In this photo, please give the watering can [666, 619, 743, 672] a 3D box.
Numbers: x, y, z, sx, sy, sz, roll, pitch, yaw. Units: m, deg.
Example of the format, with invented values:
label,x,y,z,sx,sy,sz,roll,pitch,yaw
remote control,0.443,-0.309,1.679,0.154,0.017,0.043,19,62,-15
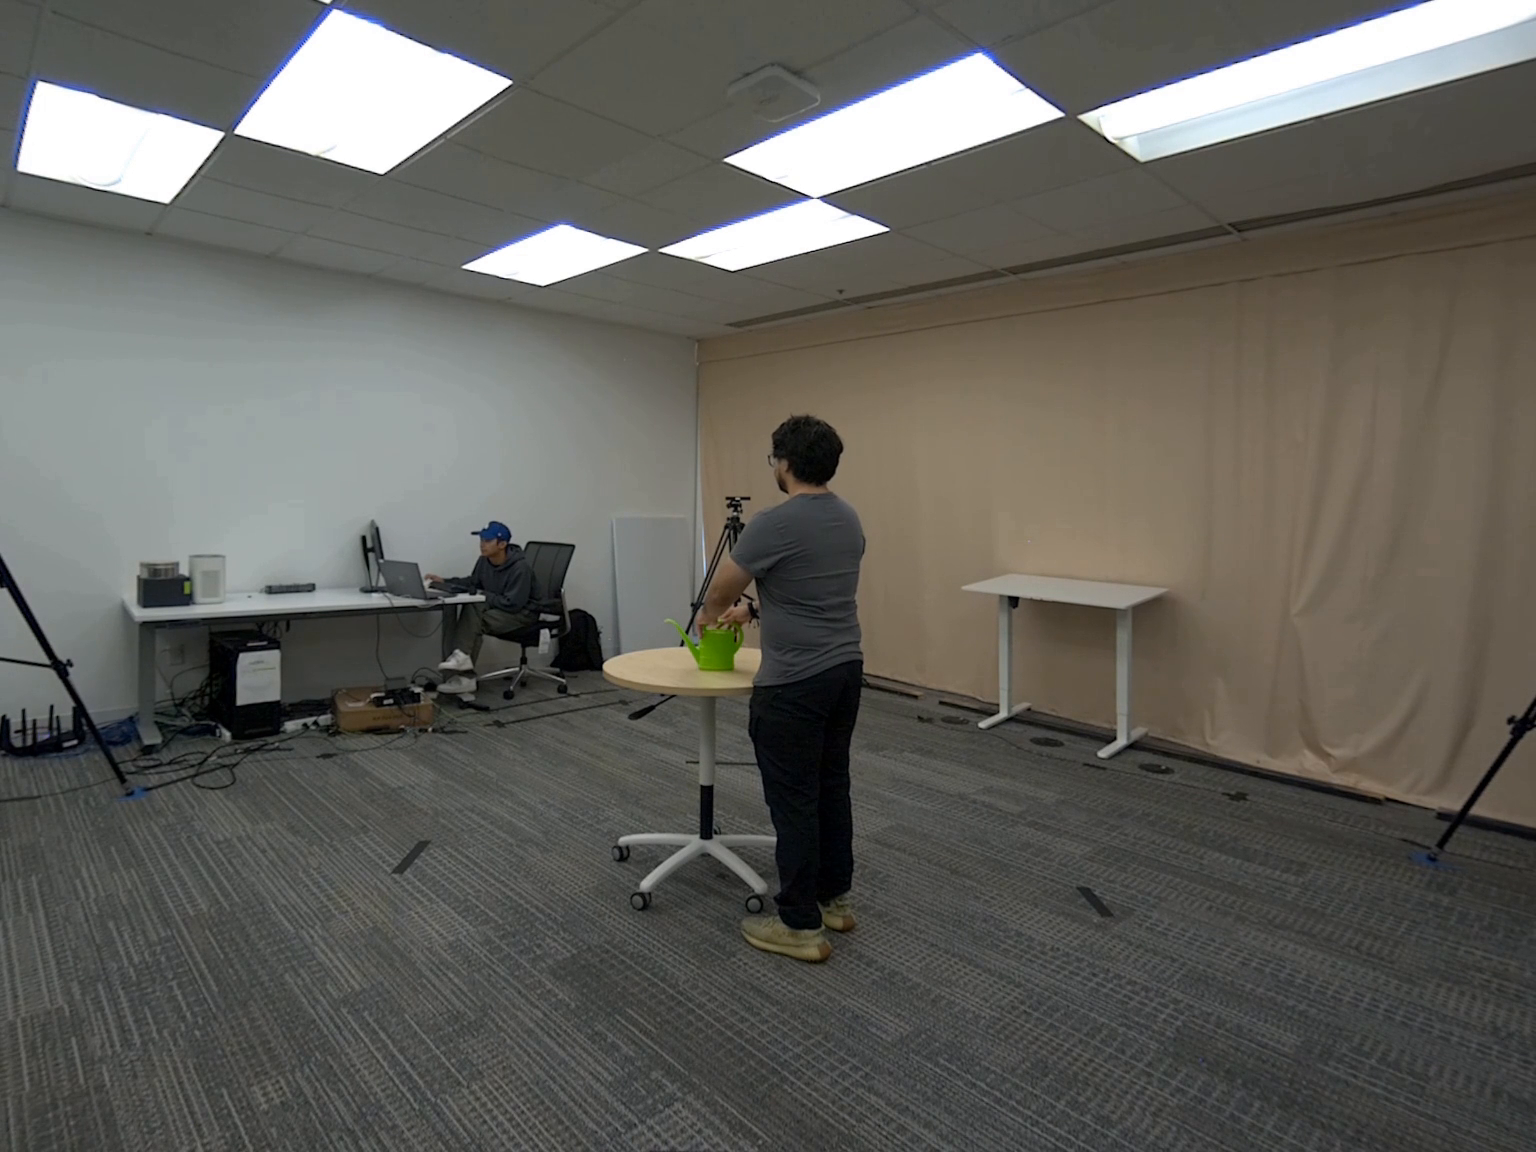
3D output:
label,x,y,z,sx,sy,sz,roll,pitch,yaw
watering can,-0.232,0.245,3.003,0.280,0.176,0.098,3,5,7
